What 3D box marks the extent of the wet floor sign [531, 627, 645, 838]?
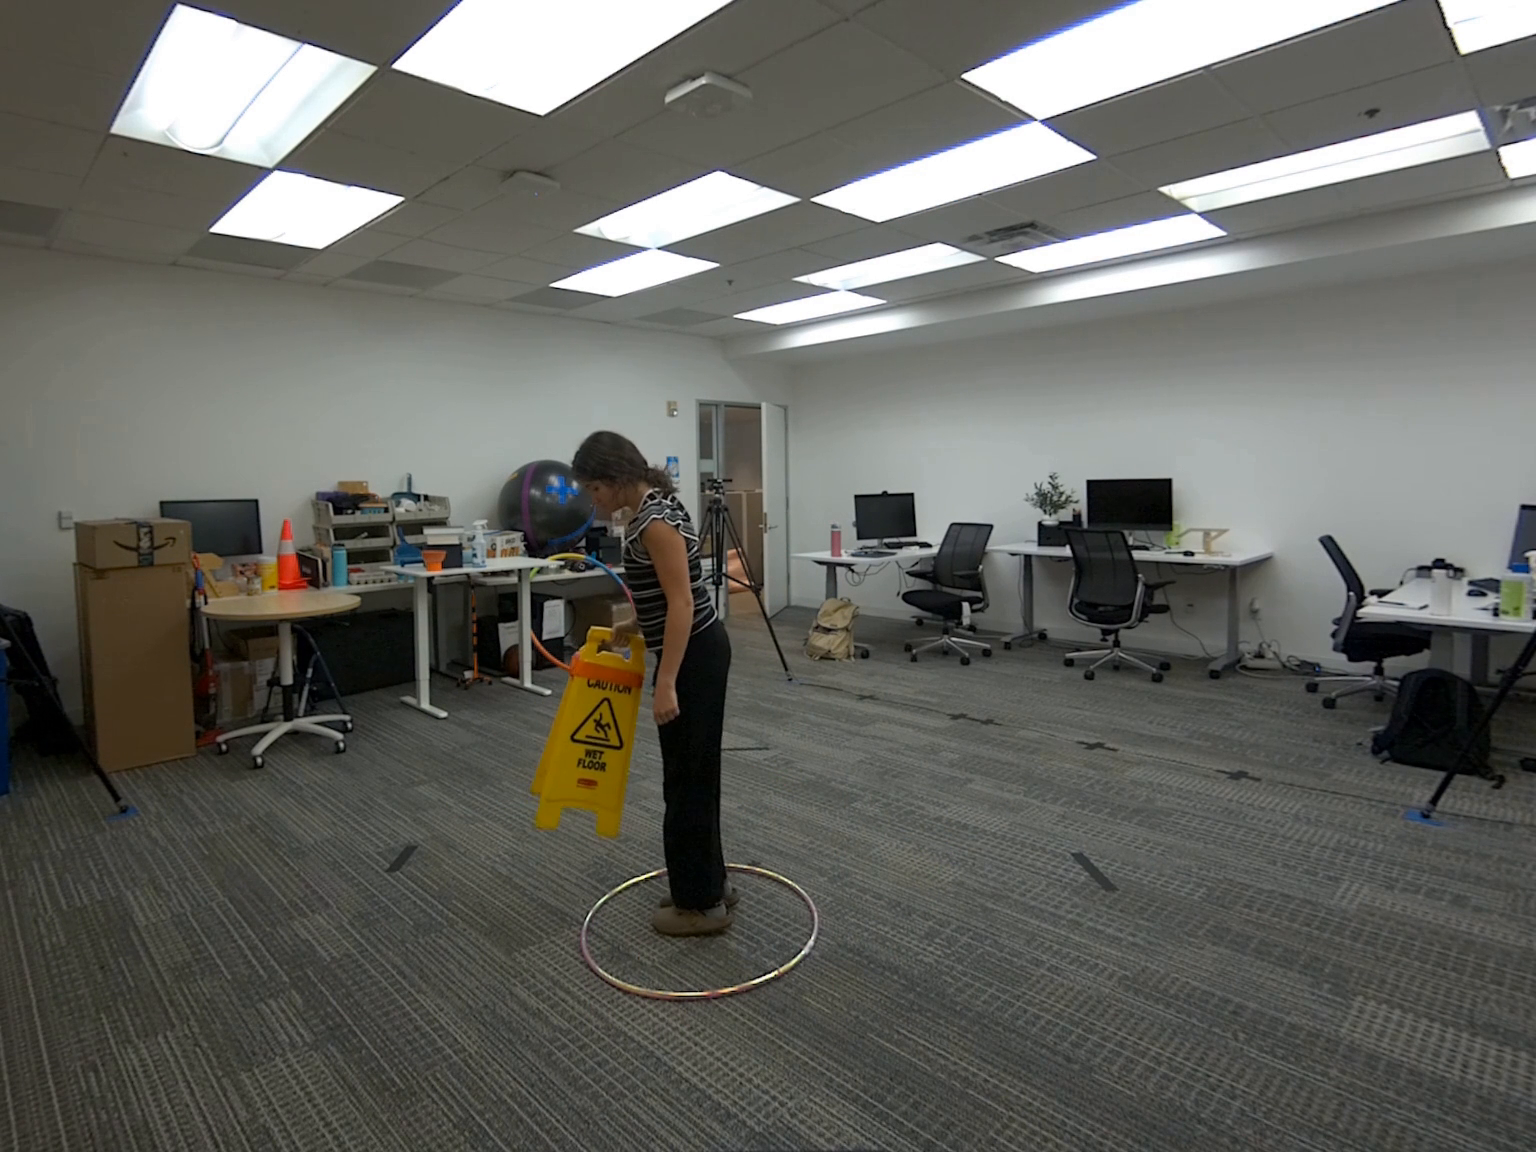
[{"bbox_3d":[-0.573,0.492,2.852,0.277,0.644,0.296,14,5,-17],"label":"wet floor sign"}]
